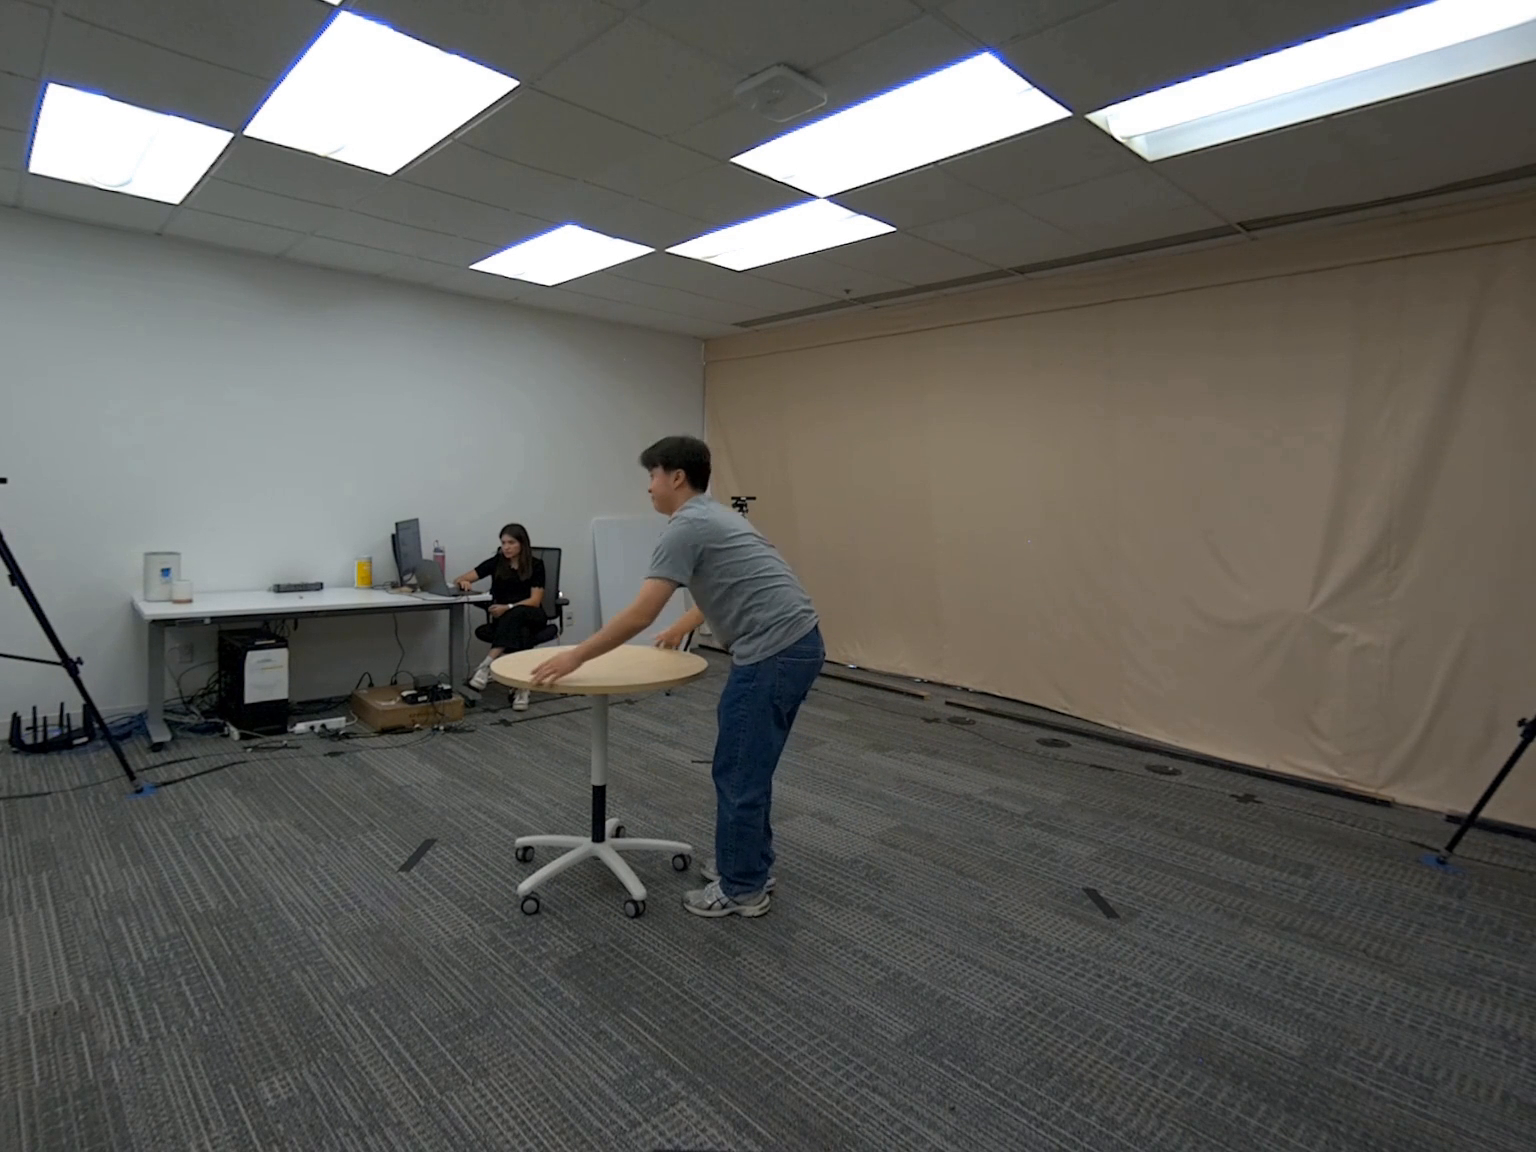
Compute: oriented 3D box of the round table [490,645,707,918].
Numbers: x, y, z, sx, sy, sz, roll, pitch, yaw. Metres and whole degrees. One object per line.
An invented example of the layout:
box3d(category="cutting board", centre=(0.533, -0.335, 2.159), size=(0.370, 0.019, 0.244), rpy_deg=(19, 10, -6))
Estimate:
box3d(category="round table", centre=(-0.617, 0.707, 3.048), size=(0.763, 0.792, 0.766), rpy_deg=(1, 4, -1))
